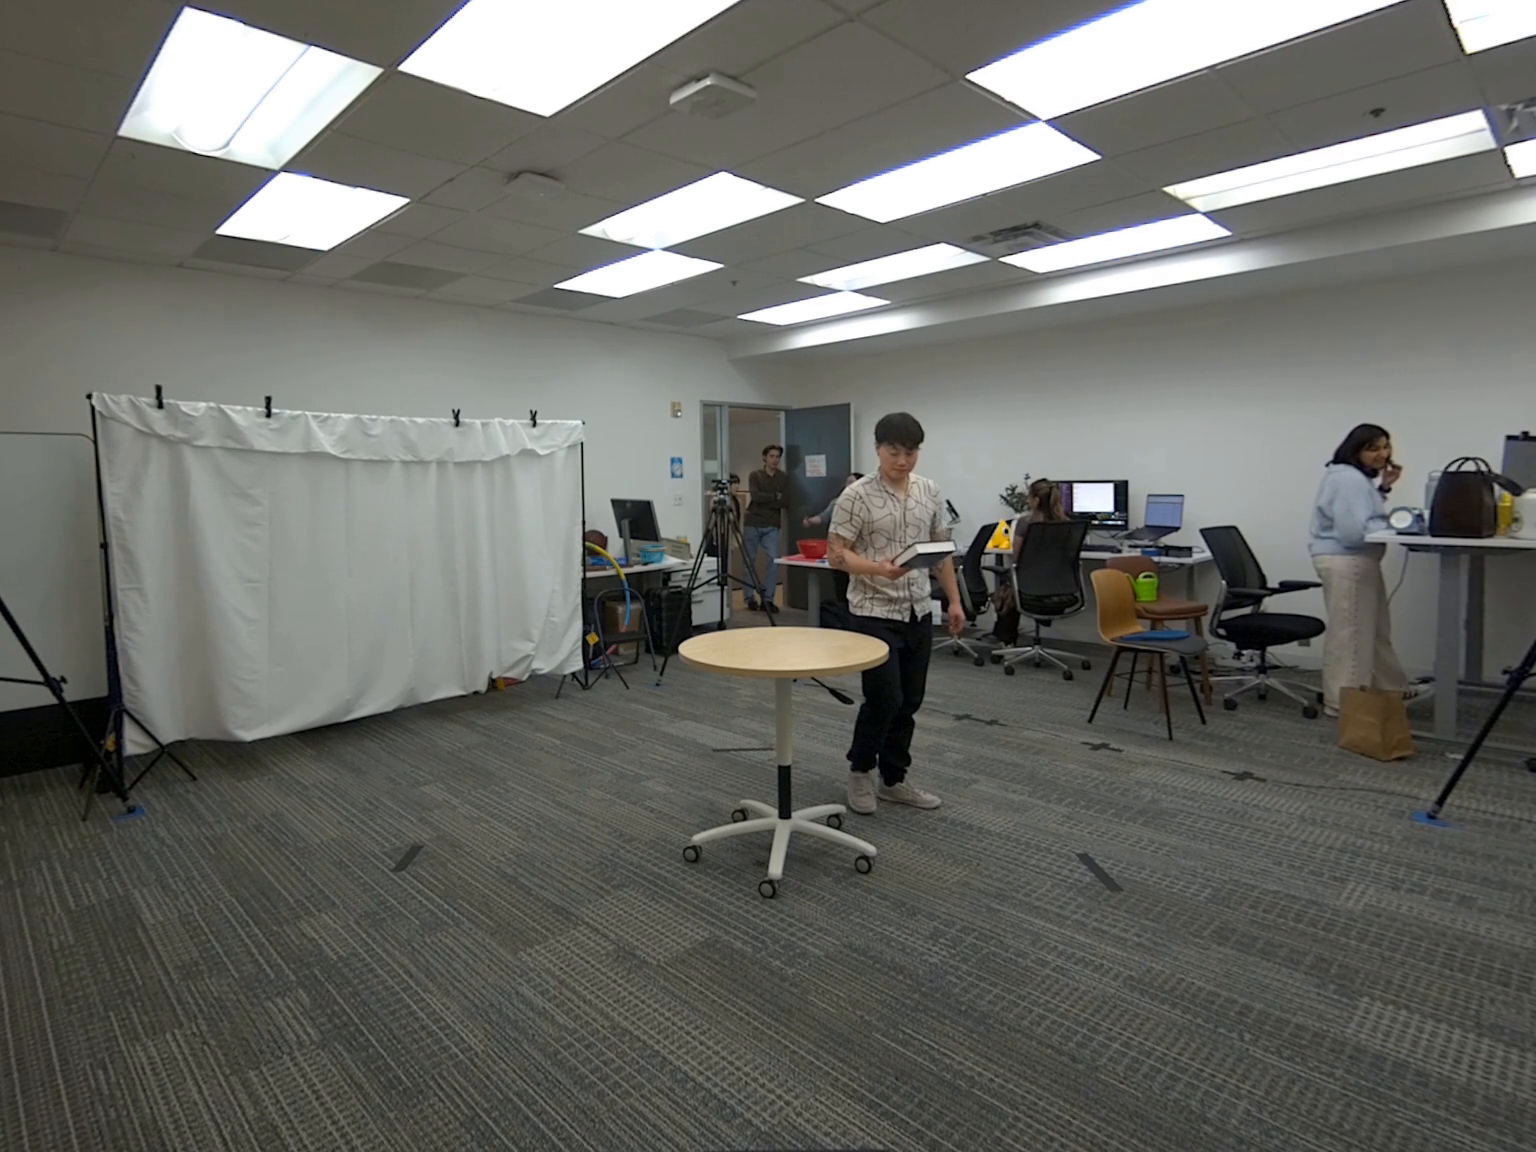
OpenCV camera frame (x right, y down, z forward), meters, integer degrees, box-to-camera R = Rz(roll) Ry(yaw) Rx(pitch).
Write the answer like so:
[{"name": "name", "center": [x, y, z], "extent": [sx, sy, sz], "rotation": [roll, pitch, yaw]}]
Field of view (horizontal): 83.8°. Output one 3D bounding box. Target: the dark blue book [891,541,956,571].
[{"name": "dark blue book", "center": [0.585, -0.074, 3.265], "extent": [0.161, 0.046, 0.244], "rotation": [-4, -14, -13]}]
